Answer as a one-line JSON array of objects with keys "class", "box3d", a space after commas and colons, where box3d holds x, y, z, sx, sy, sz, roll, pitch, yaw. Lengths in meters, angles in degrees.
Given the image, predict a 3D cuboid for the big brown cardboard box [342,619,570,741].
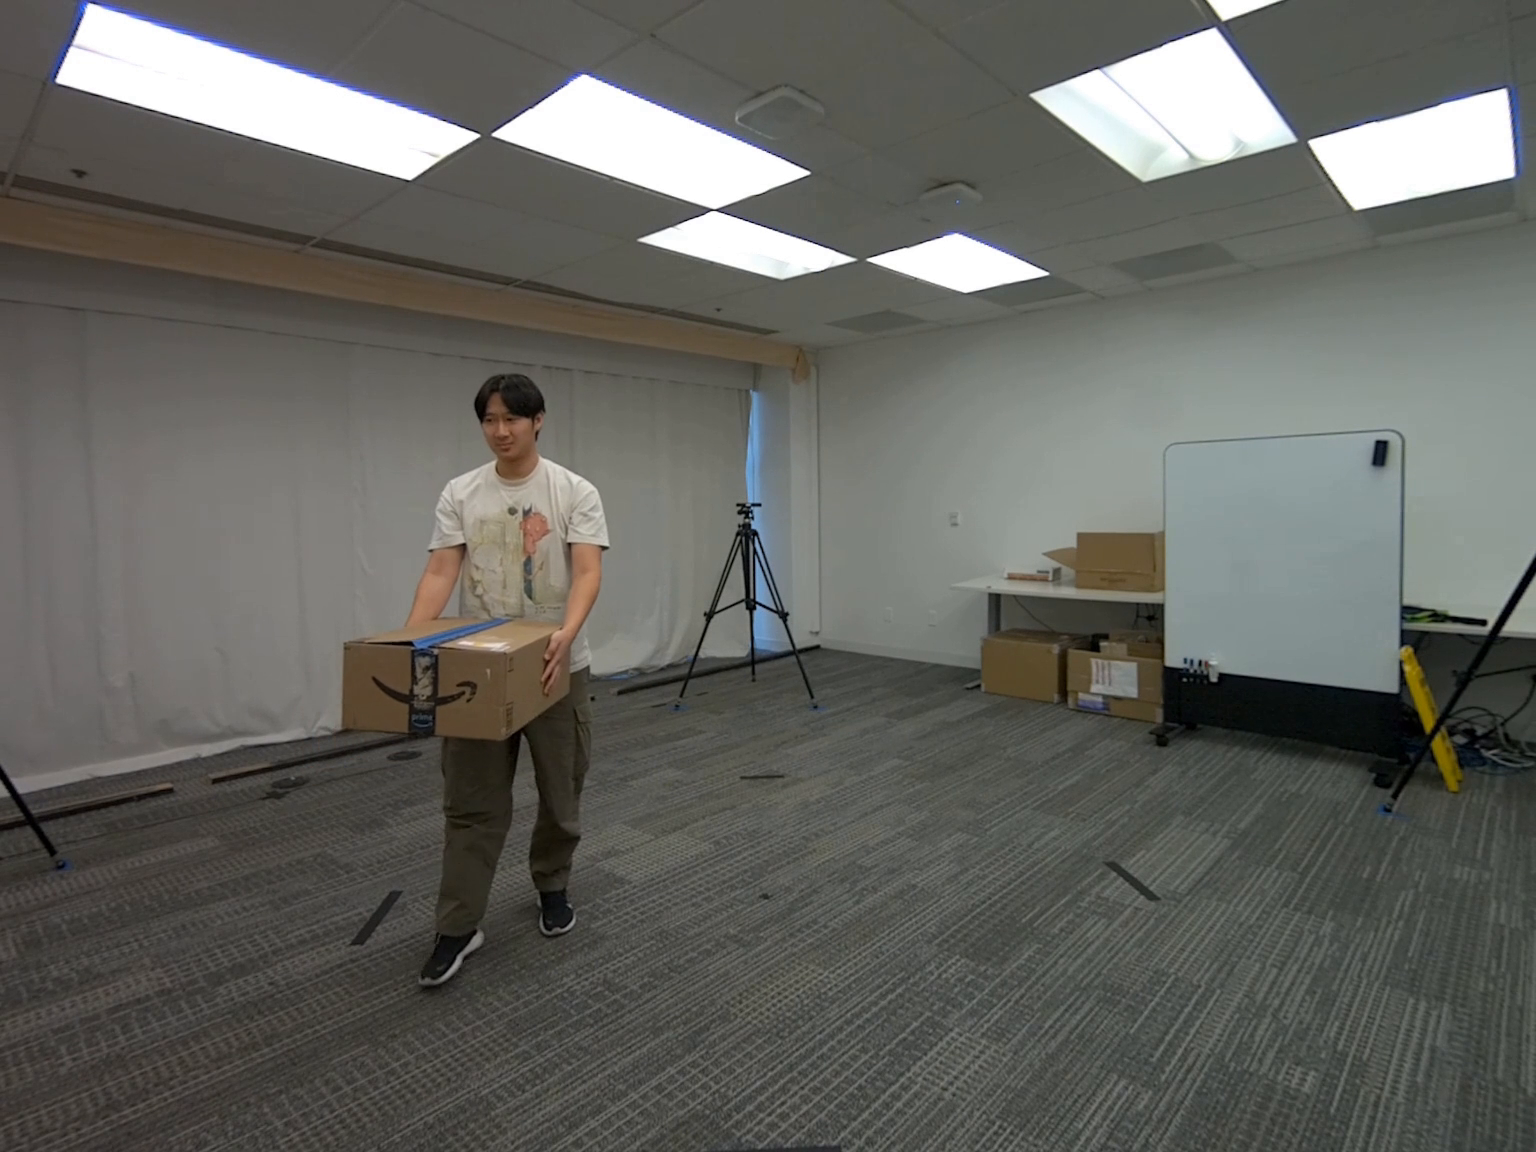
[{"class": "big brown cardboard box", "box3d": [-0.820, 0.256, 2.301, 0.420, 0.233, 0.586, 2, 3, 4]}]
